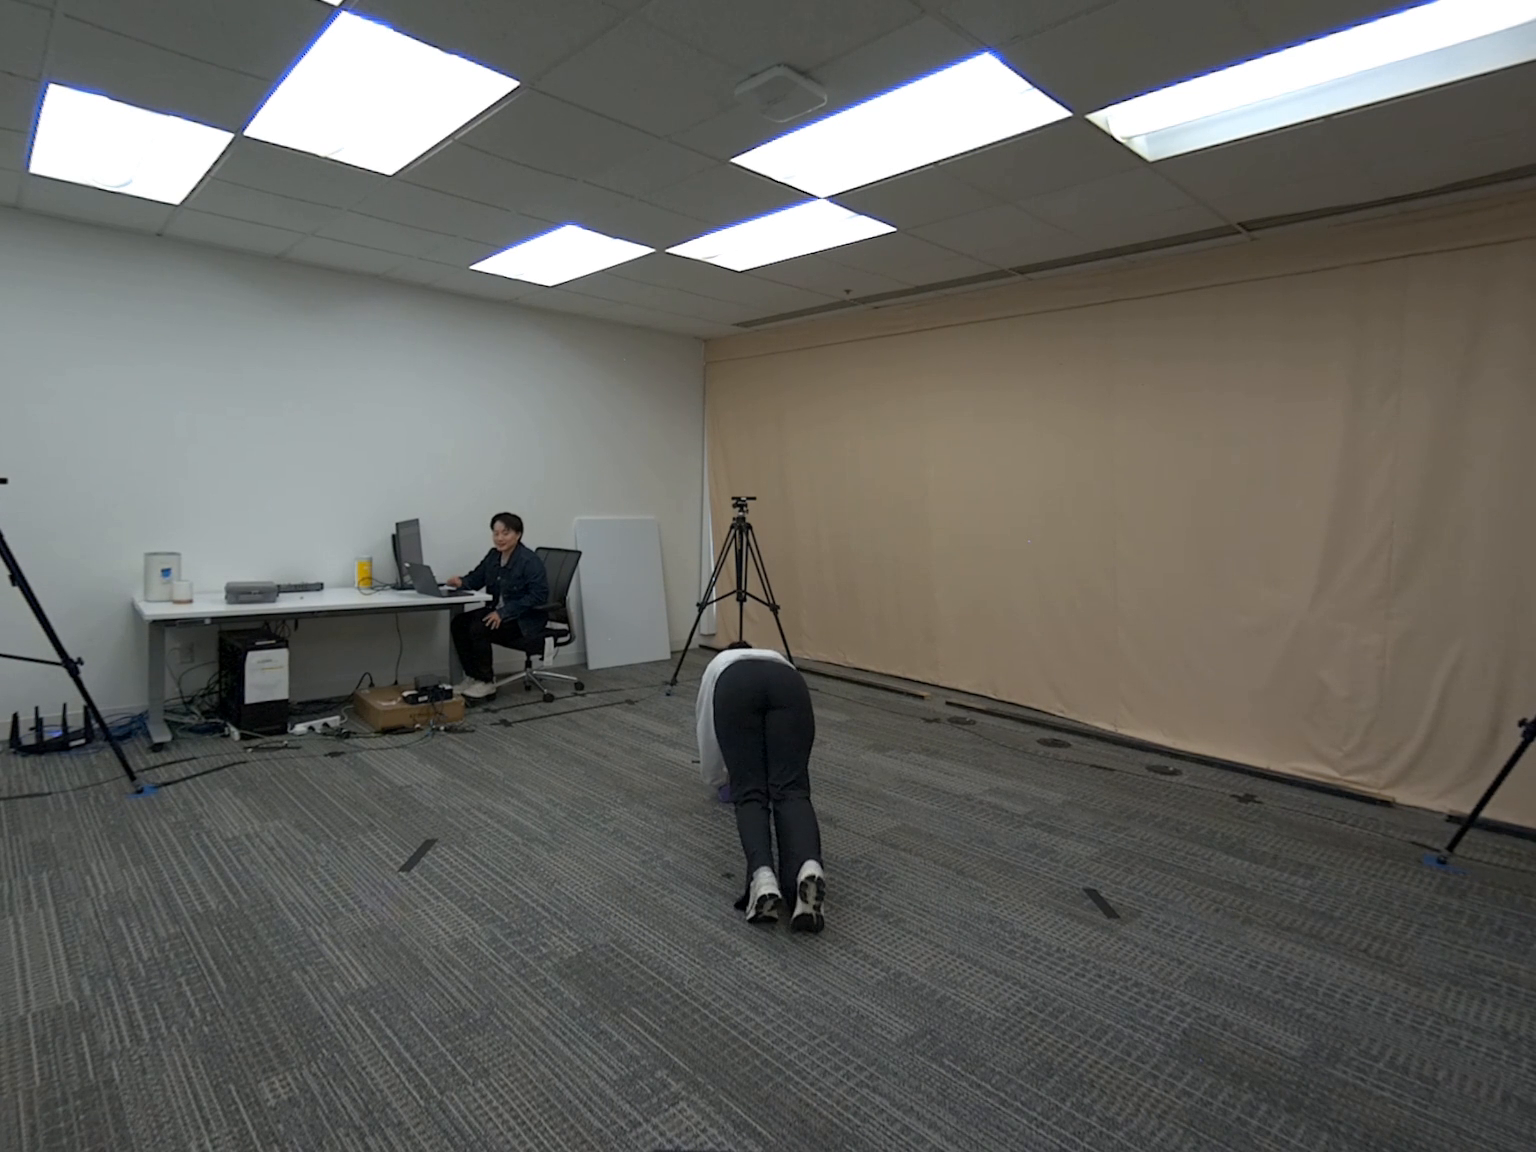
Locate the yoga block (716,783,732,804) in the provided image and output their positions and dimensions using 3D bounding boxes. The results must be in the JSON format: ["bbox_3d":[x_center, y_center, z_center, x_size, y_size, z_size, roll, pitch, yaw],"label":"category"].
[{"bbox_3d":[-0.128,1.005,3.946,0.227,0.076,0.151,0,3,-12],"label":"yoga block"}]
